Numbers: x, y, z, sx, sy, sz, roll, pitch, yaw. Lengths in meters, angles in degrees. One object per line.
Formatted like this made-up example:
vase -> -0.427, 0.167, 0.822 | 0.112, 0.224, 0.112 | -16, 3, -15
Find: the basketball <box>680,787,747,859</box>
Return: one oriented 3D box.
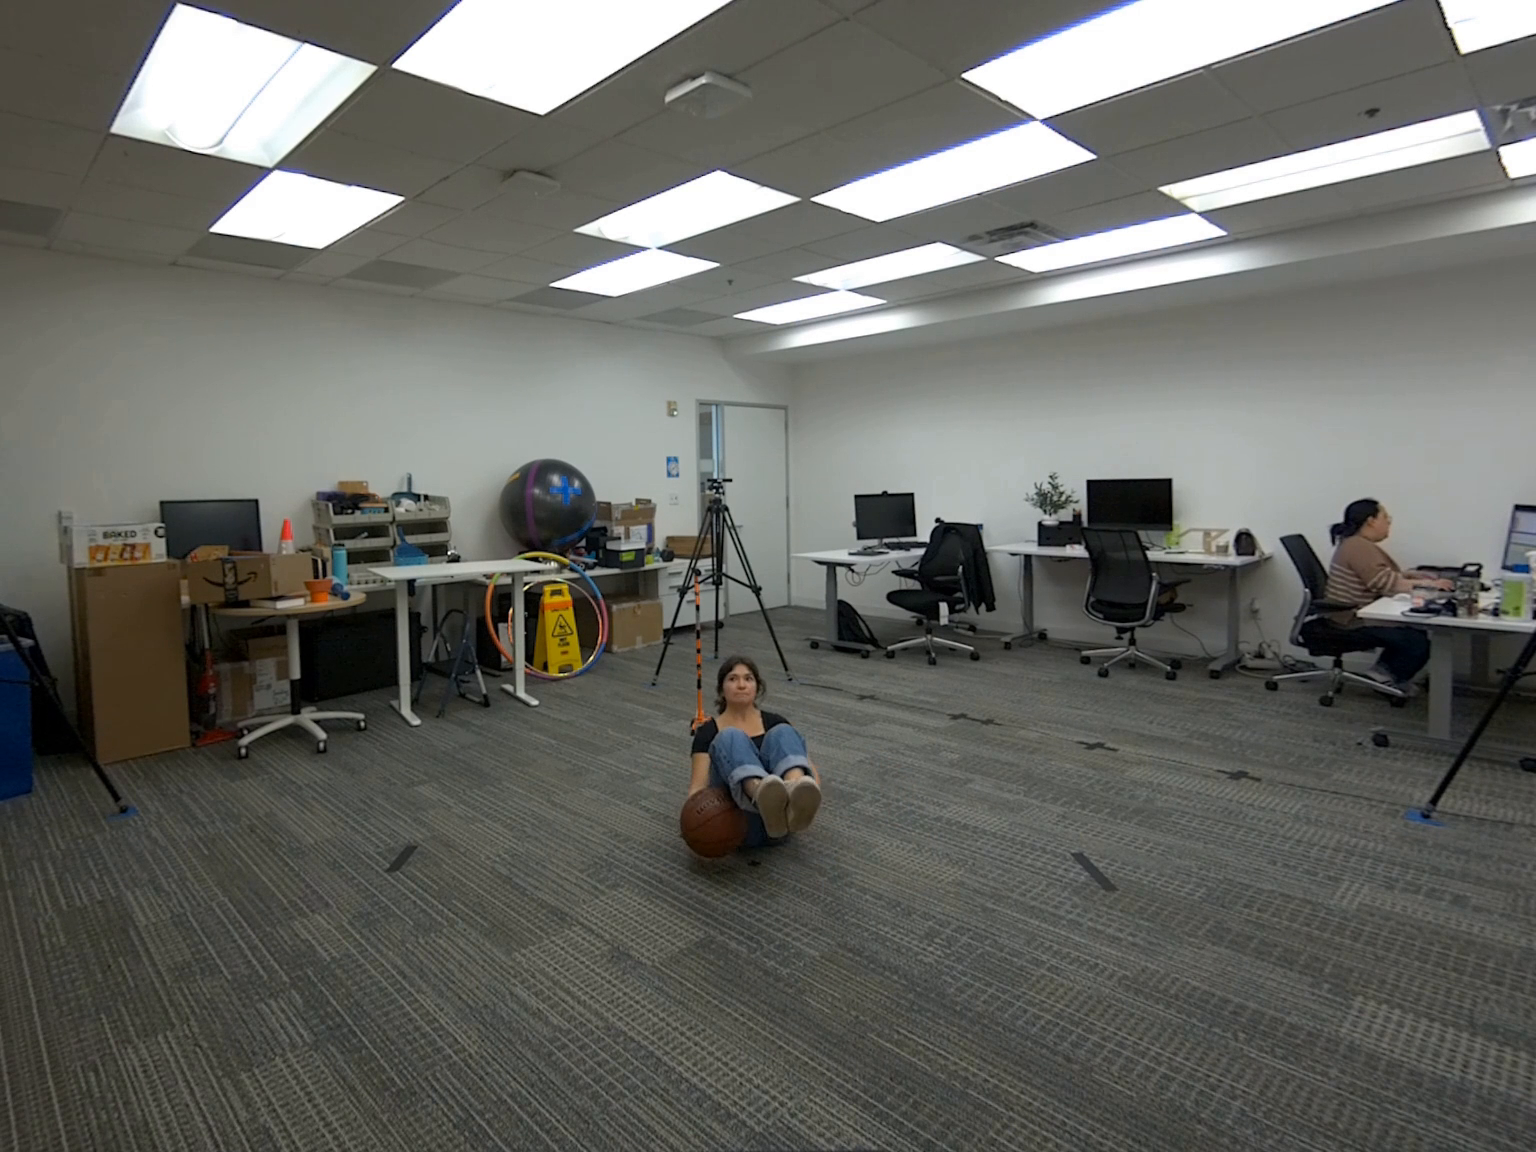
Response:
basketball -> -0.197, 0.865, 3.034 | 0.236, 0.235, 0.237 | -1, 5, -2
